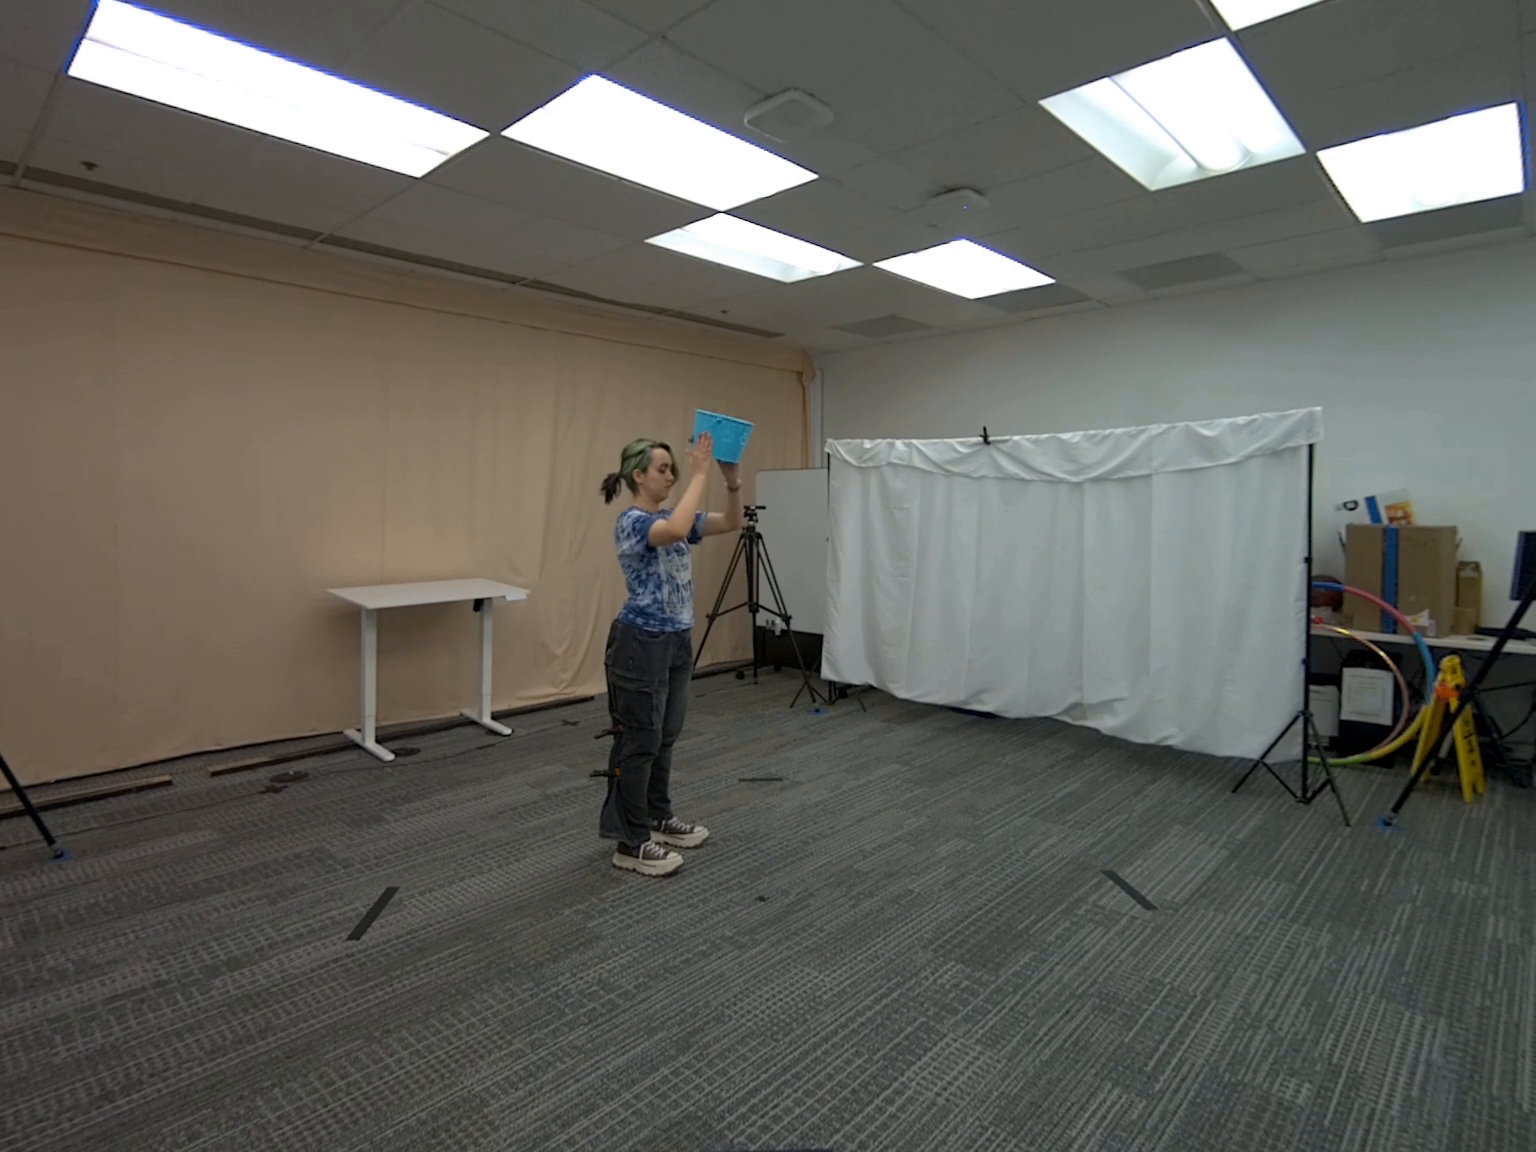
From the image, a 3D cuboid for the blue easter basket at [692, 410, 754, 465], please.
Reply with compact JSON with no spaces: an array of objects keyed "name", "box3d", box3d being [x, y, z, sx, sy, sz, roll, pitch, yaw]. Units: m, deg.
[{"name":"blue easter basket","box3d":[-0.186,-0.519,3.148,0.243,0.155,0.245,13,10,-4]}]
